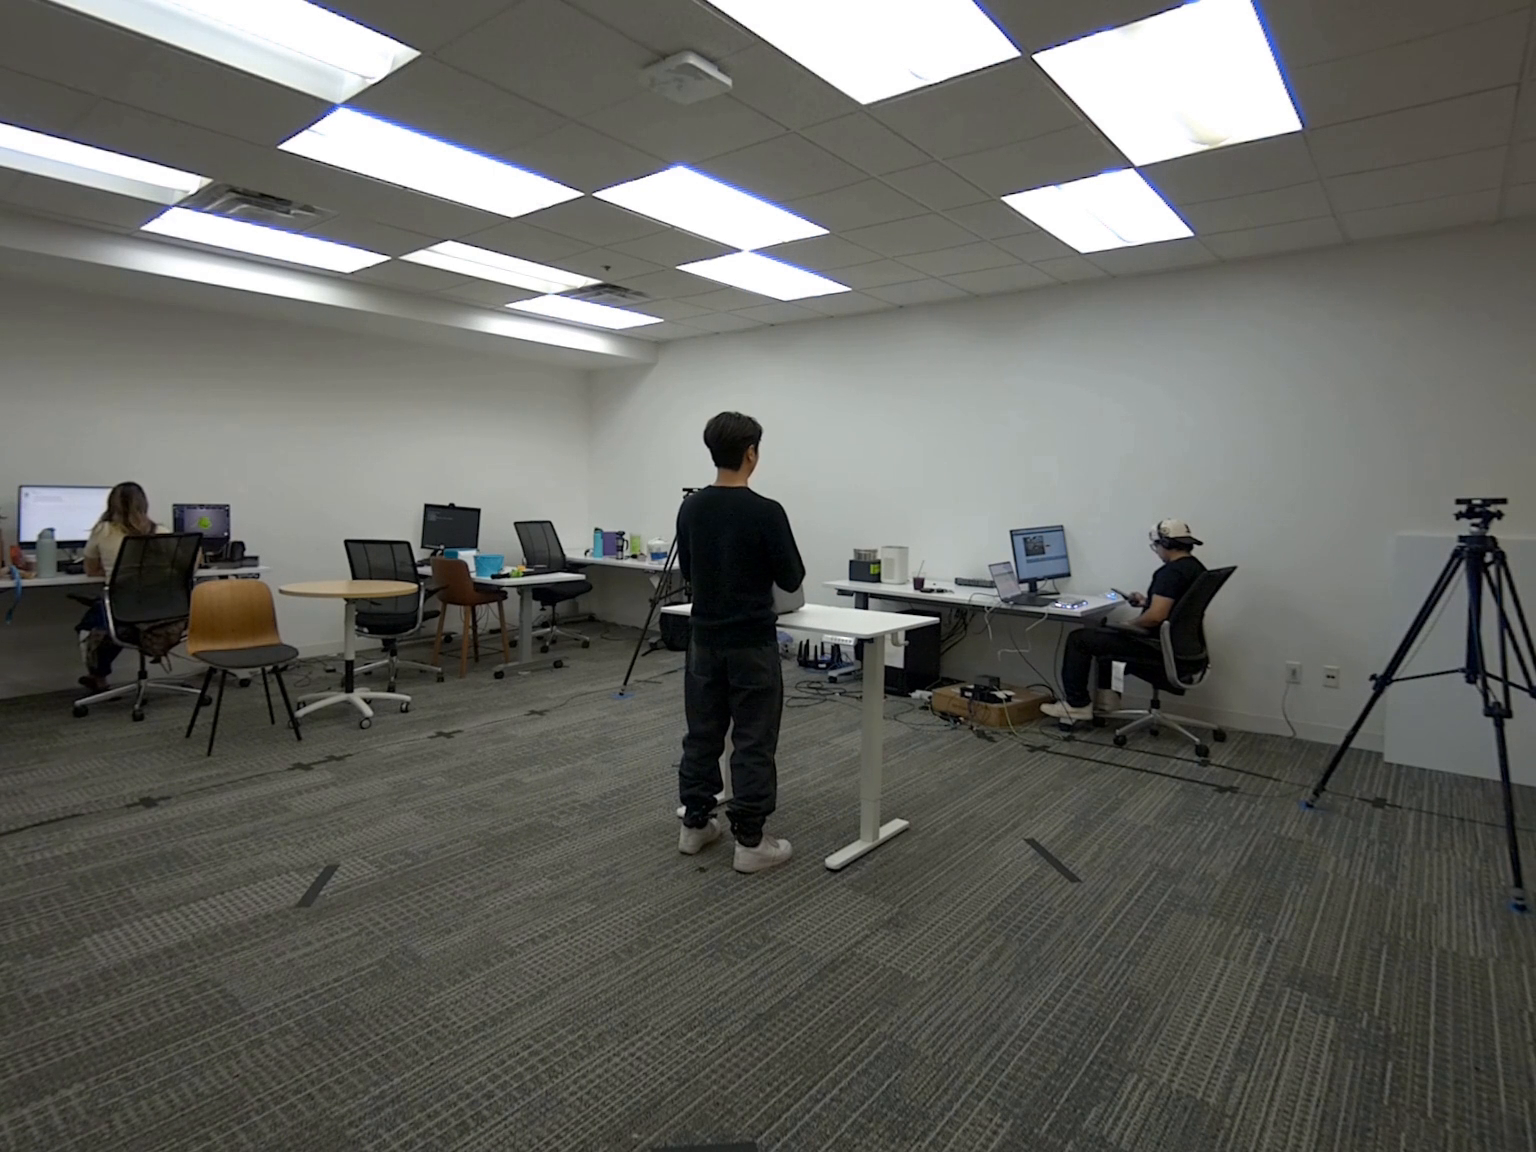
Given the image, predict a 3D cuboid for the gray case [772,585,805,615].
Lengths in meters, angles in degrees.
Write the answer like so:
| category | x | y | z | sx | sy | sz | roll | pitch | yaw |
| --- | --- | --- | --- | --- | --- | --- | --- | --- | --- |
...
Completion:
| category | x | y | z | sx | sy | sz | roll | pitch | yaw |
| --- | --- | --- | --- | --- | --- | --- | --- | --- | --- |
| gray case | 0.035 | 0.021 | 3.550 | 0.107 | 0.258 | 0.253 | -12 | -4 | 34 |
